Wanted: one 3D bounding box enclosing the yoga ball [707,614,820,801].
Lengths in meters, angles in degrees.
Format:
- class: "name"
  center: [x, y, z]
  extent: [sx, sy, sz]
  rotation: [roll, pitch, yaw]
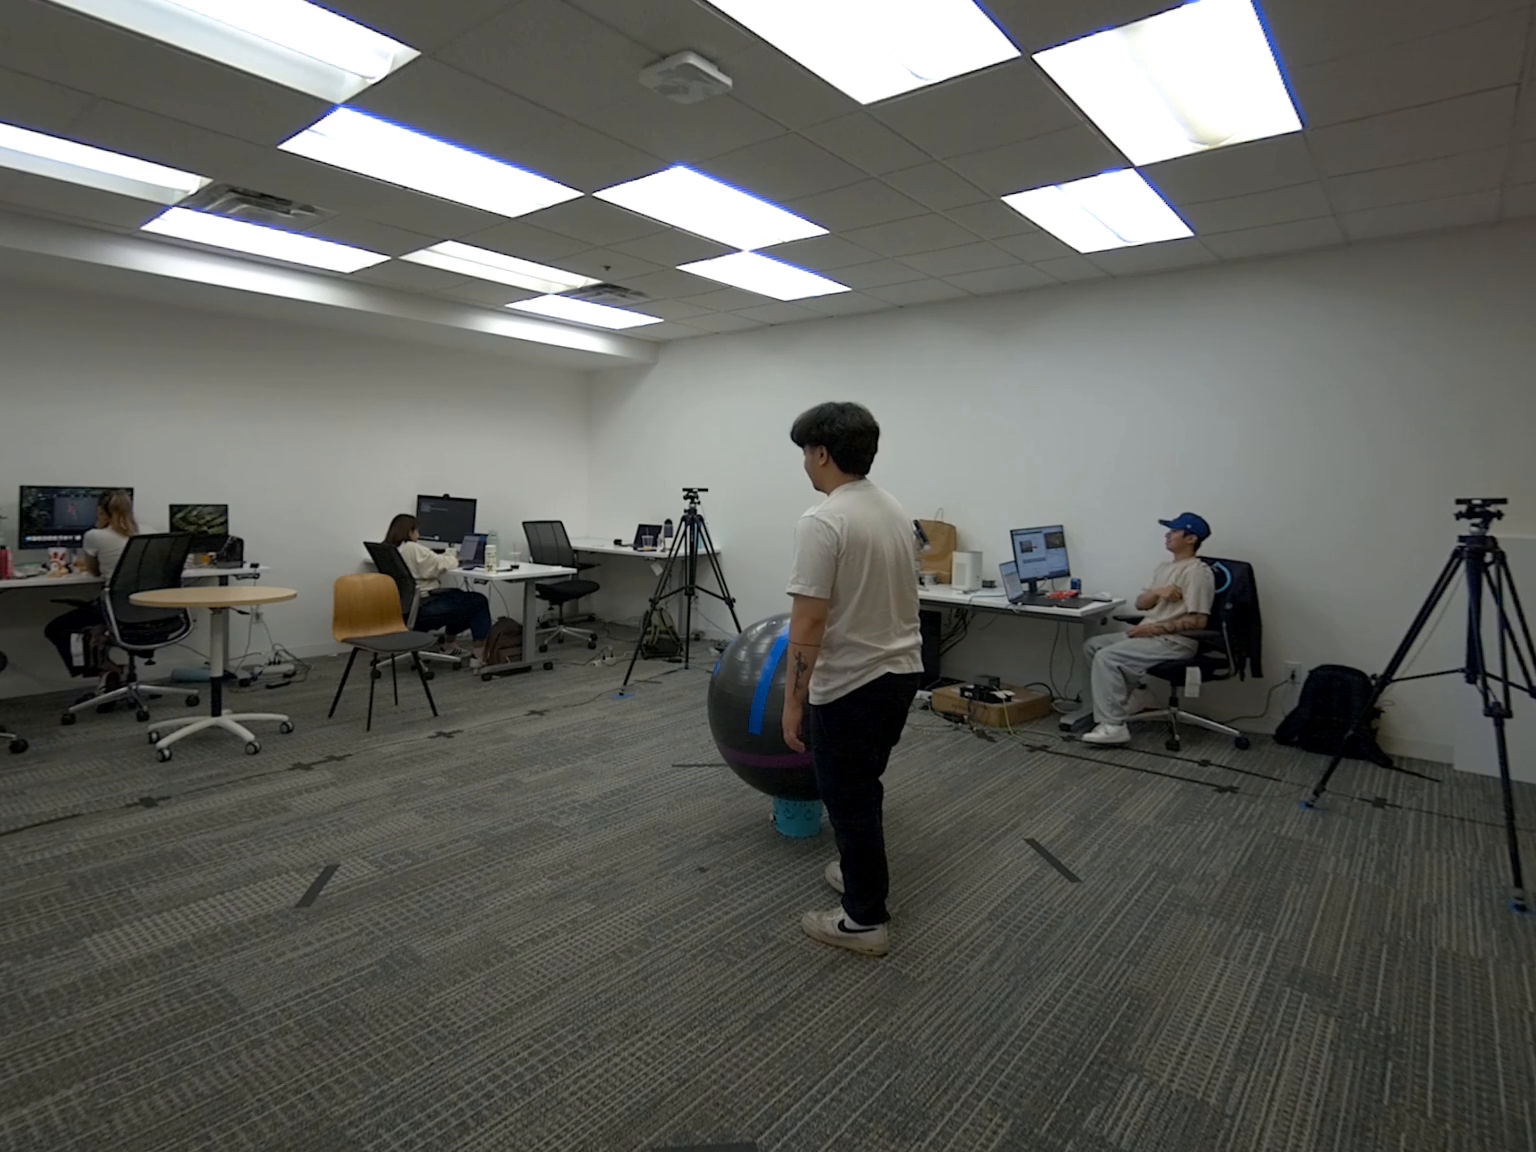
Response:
- class: "yoga ball"
  center: [0.125, 0.525, 3.485]
  extent: [0.757, 0.755, 0.762]
  rotation: [1, 4, -2]
